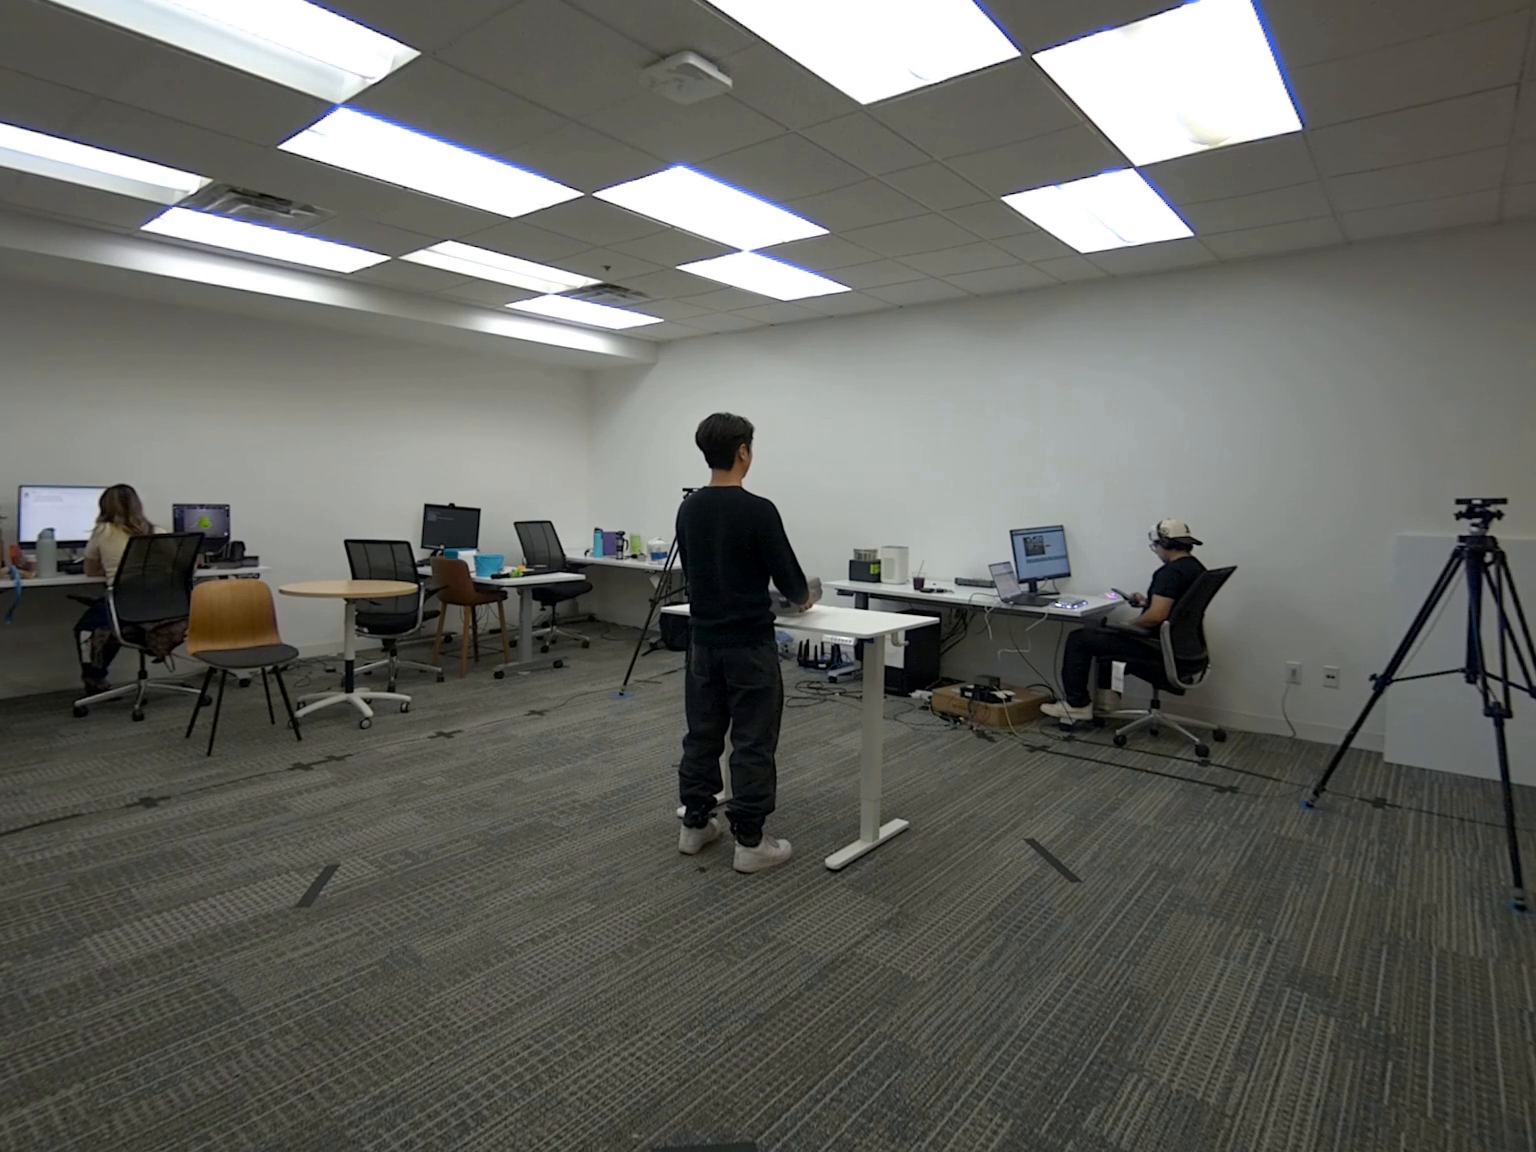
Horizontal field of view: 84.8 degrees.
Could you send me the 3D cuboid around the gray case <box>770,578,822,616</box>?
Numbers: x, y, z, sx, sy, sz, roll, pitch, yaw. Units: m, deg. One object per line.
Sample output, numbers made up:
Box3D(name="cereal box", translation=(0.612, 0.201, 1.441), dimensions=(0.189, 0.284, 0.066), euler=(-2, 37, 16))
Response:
Box3D(name="gray case", translation=(0.055, 0.072, 3.554), dimensions=(0.264, 0.103, 0.256), euler=(-2, 12, 35))
